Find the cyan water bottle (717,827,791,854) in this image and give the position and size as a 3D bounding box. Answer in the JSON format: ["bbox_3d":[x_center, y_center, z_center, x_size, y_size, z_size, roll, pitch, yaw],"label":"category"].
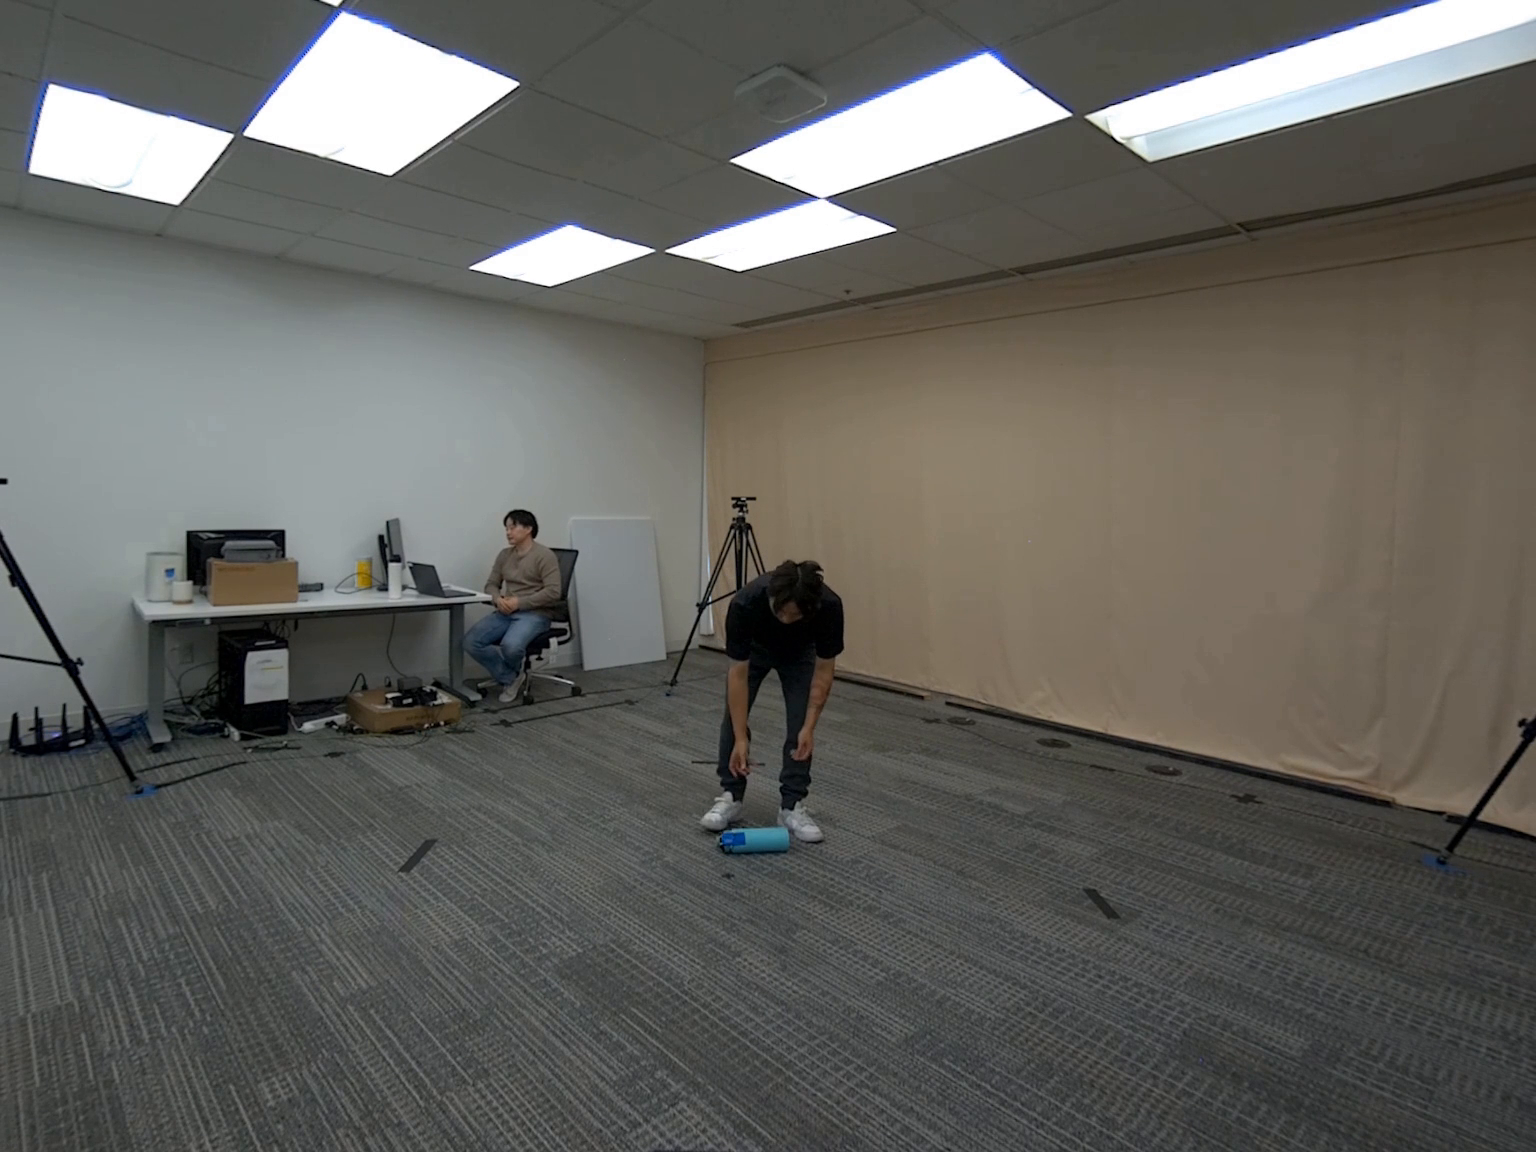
[{"bbox_3d":[-0.073,1.044,3.324,0.281,0.092,0.093,0,4,-9],"label":"cyan water bottle"}]
